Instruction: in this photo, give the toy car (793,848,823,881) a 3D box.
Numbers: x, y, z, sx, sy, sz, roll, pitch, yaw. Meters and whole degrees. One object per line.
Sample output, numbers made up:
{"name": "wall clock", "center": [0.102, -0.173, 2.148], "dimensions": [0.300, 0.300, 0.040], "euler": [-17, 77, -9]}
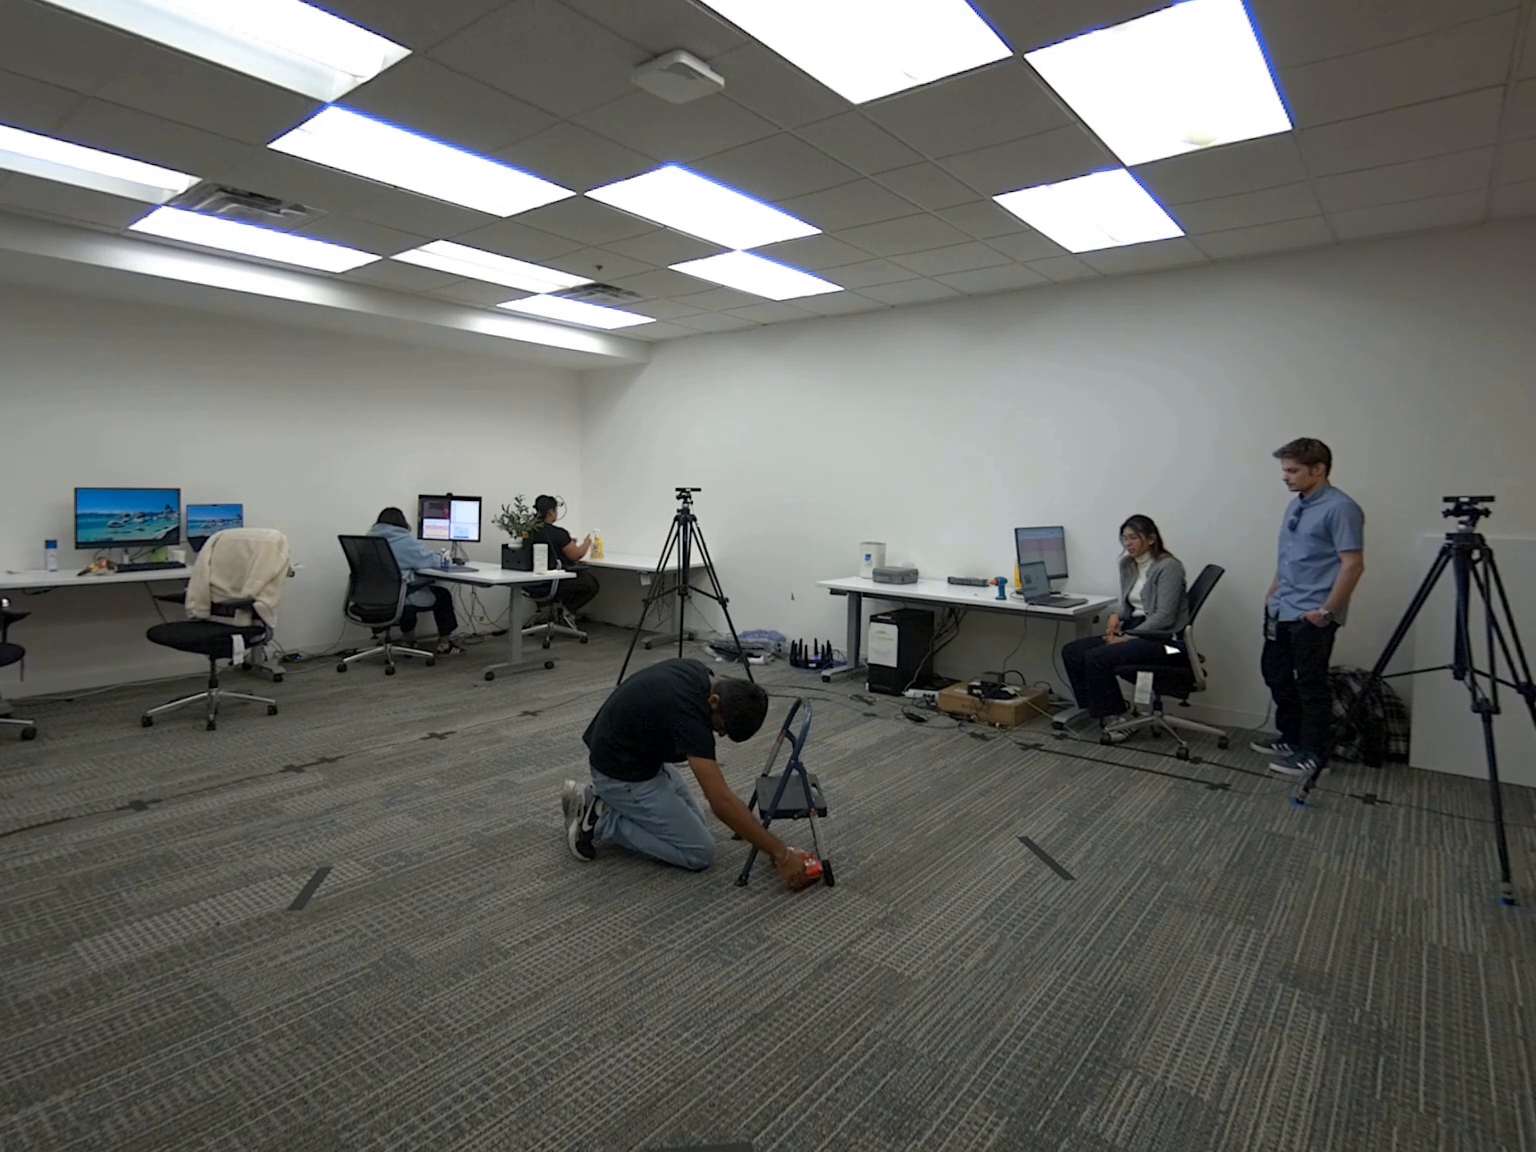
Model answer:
{"name": "toy car", "center": [0.106, 1.043, 3.096], "dimensions": [0.127, 0.084, 0.259], "euler": [-1, -5, -25]}
